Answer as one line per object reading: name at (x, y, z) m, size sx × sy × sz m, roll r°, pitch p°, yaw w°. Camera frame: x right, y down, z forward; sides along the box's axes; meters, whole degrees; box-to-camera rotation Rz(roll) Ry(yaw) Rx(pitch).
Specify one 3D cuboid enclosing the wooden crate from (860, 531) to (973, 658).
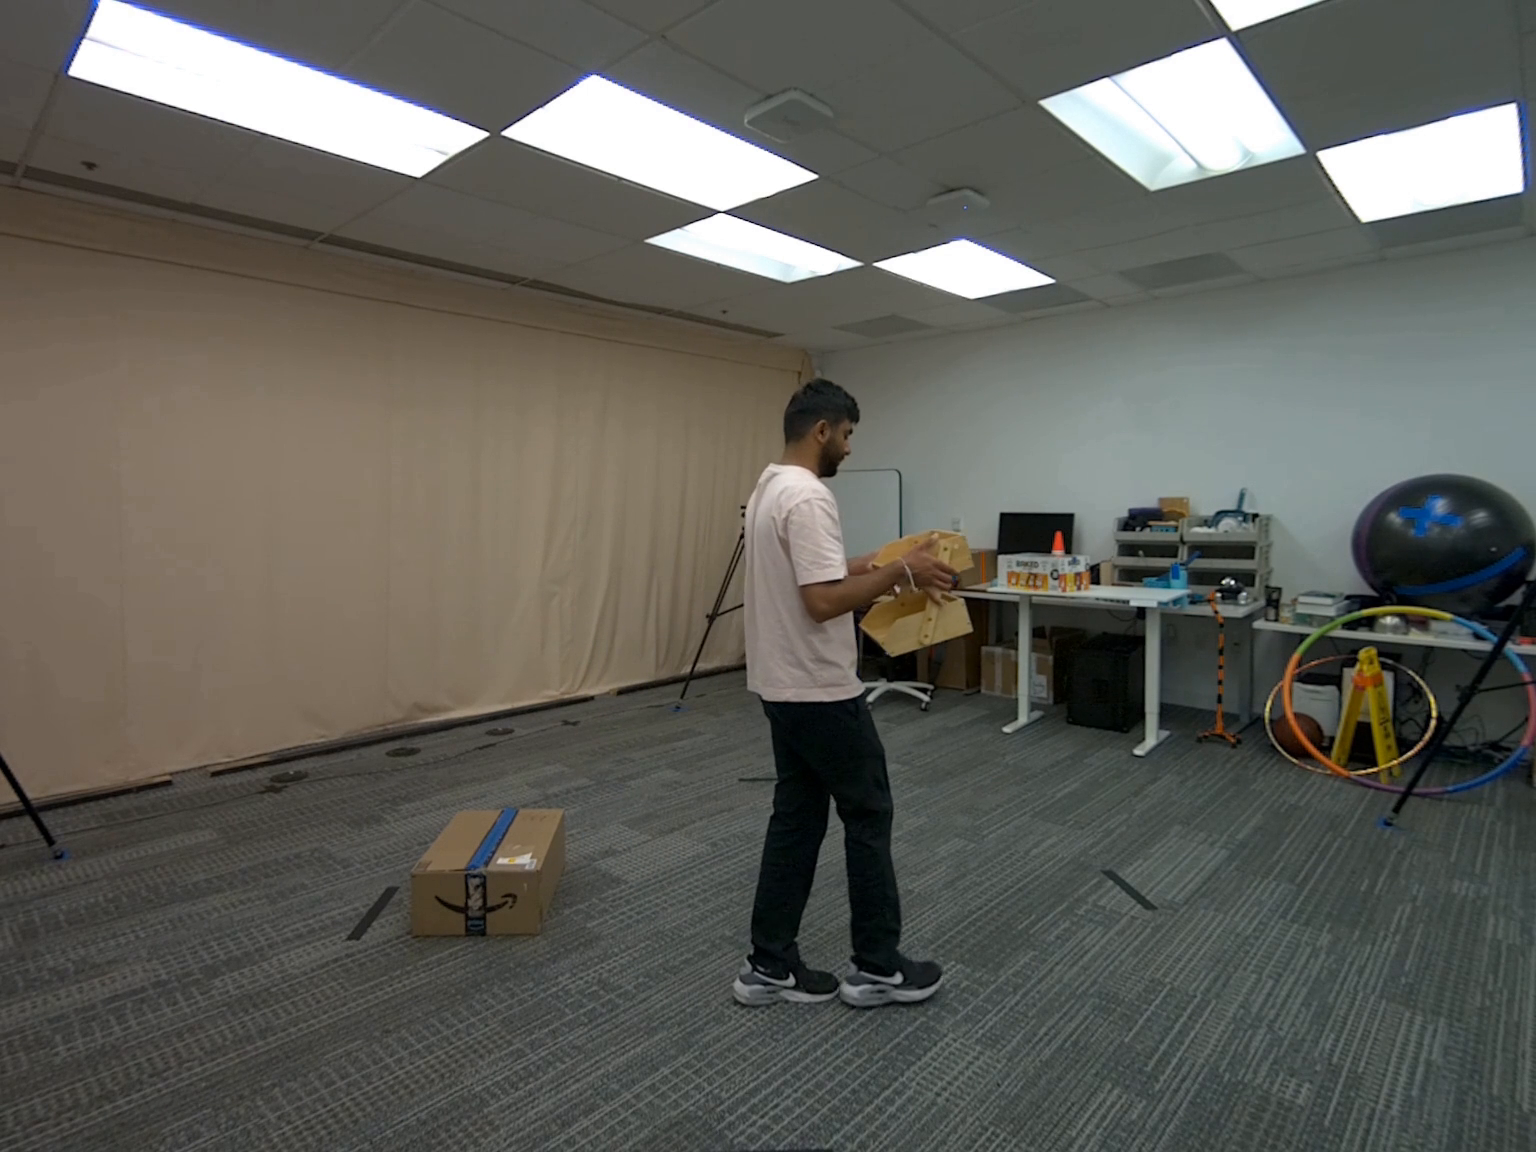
wooden crate at (0.403, 0.041, 2.403) m, size 0.302 × 0.272 × 0.326 m, roll -17°, pitch 6°, yaw -2°
